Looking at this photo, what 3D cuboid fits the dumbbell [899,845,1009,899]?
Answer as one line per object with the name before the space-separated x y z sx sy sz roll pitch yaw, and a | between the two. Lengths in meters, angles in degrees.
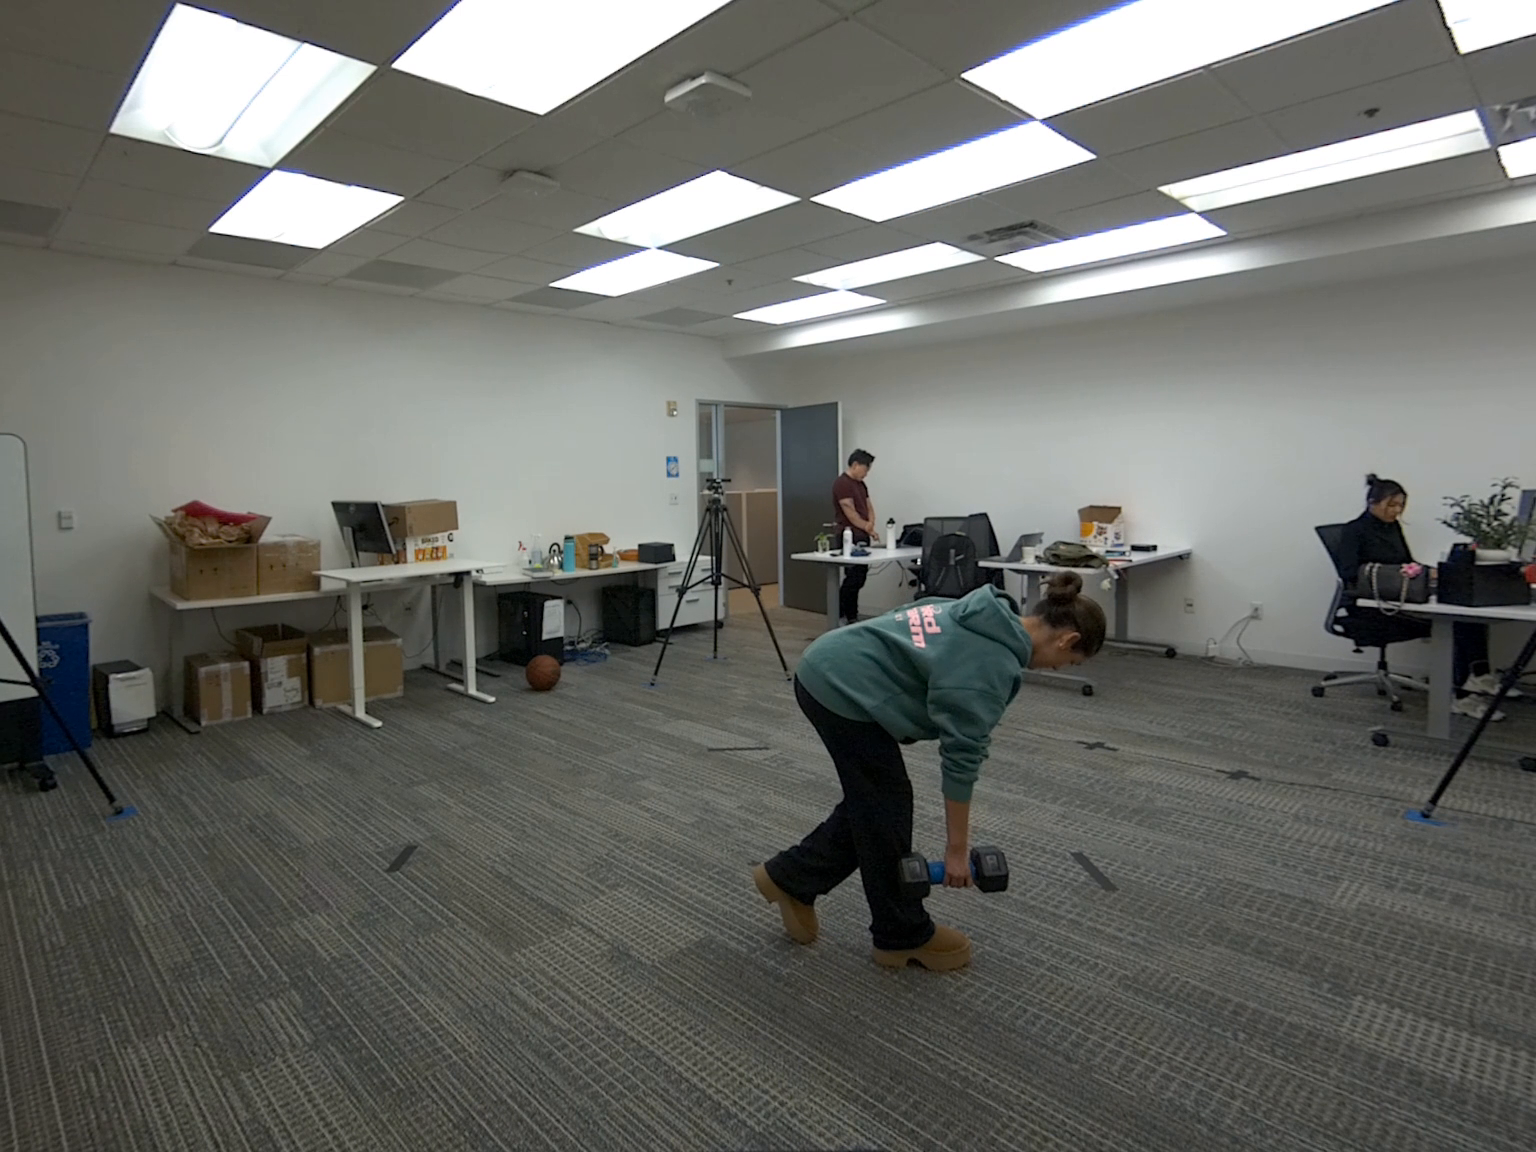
dumbbell | 0.506 0.808 2.330 0.293 0.120 0.111 -5 25 -1
